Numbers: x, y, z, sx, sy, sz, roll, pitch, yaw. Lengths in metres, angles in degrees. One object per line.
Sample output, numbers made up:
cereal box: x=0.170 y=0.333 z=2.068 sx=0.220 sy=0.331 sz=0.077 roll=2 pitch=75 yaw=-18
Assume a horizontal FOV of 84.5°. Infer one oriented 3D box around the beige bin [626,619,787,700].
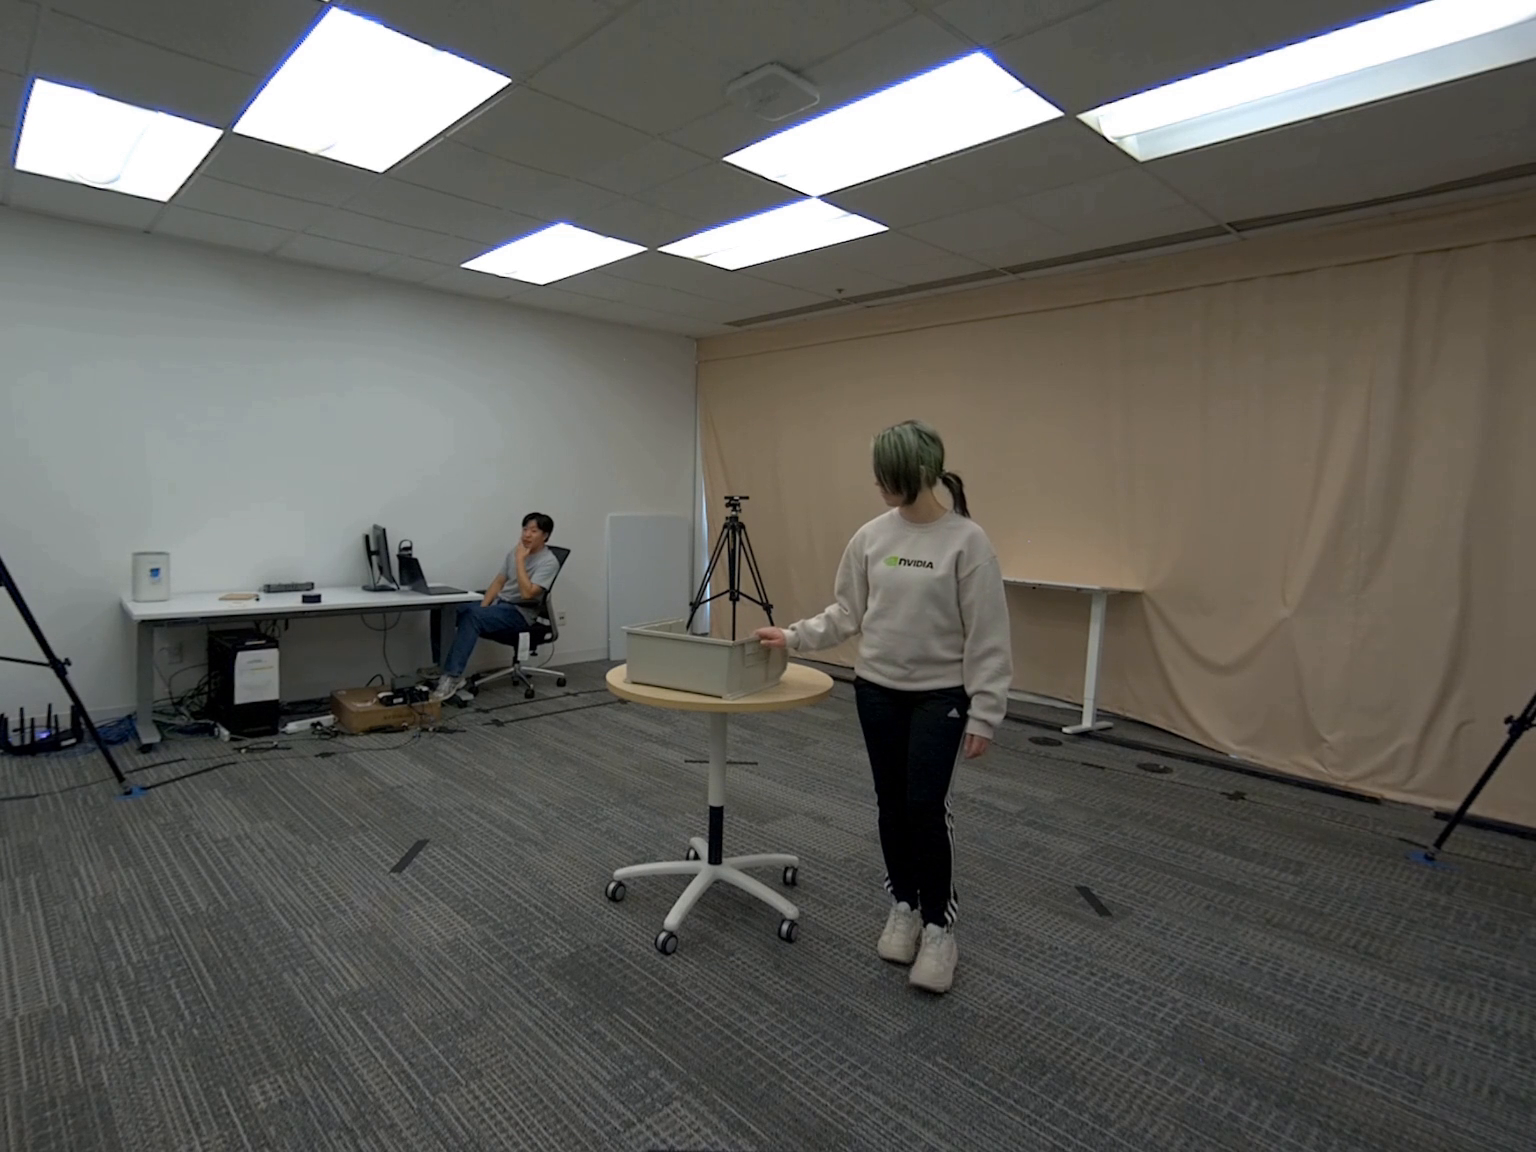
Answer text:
beige bin: x=-0.210 y=0.258 z=2.752 sx=0.432 sy=0.188 sz=0.370 roll=4 pitch=7 yaw=31
